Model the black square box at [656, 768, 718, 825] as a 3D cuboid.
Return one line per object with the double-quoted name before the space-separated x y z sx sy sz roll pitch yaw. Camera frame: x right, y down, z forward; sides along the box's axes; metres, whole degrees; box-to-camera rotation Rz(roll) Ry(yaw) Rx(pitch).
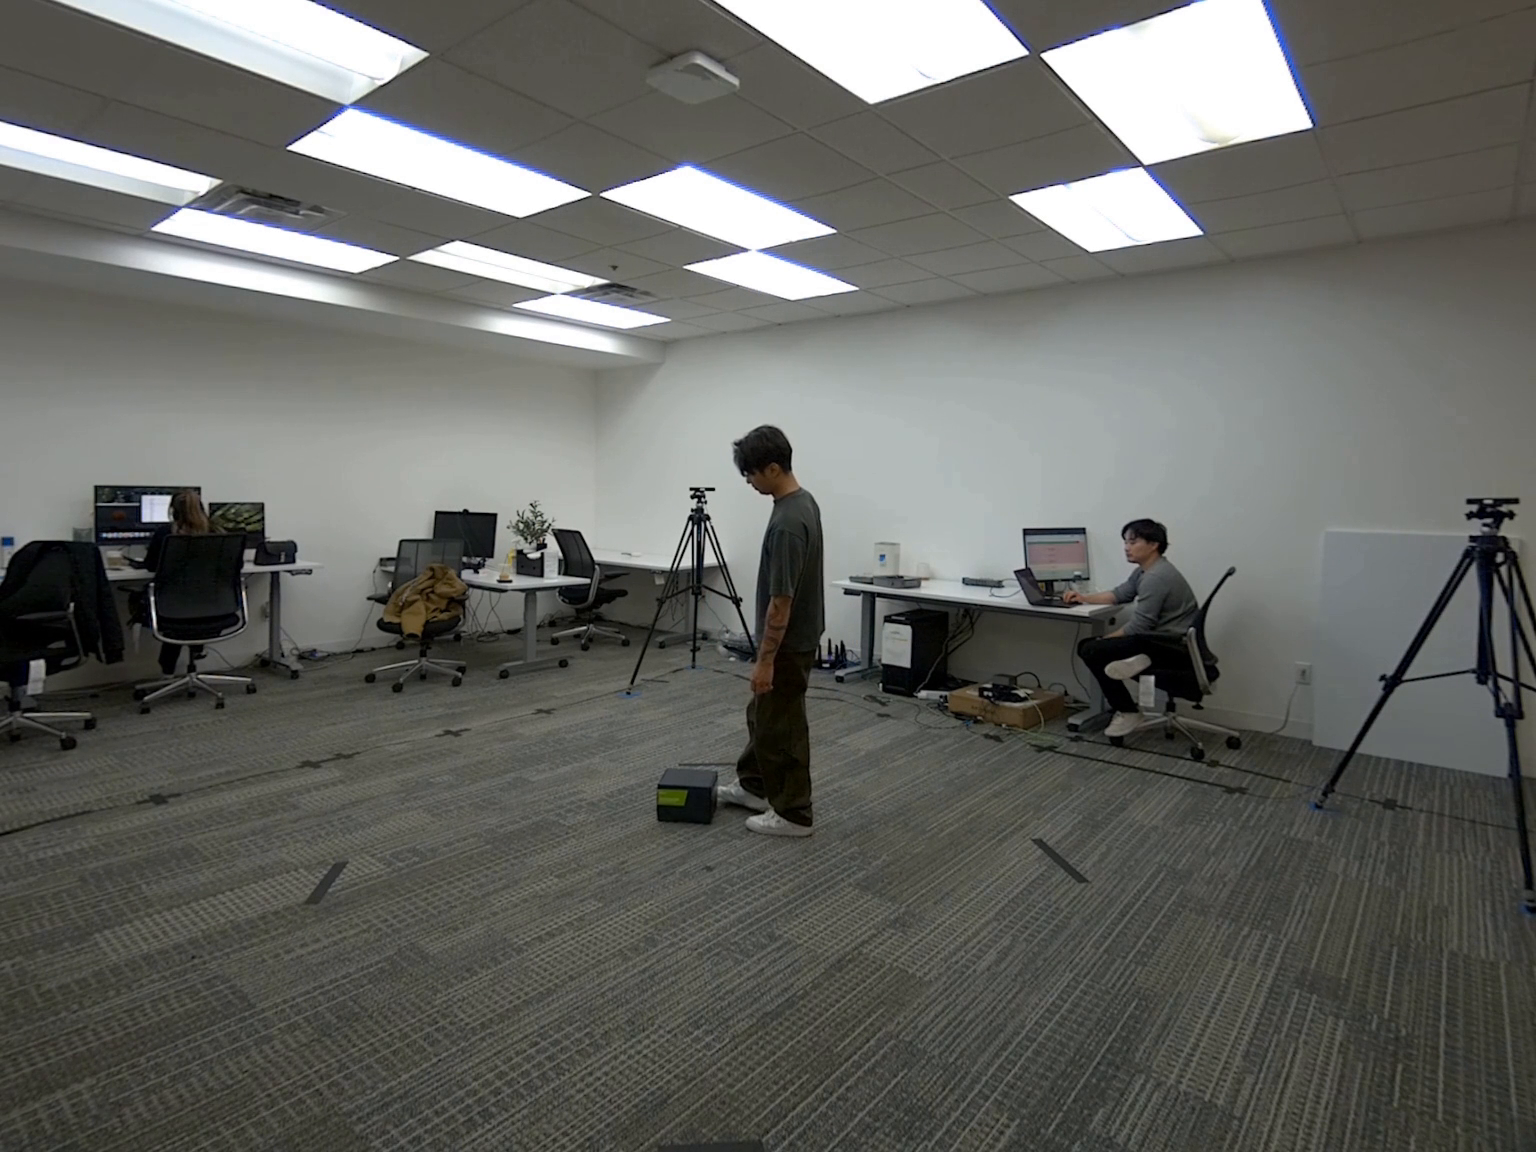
"black square box" -0.353 0.932 3.638 0.230 0.155 0.216 -1 5 6
